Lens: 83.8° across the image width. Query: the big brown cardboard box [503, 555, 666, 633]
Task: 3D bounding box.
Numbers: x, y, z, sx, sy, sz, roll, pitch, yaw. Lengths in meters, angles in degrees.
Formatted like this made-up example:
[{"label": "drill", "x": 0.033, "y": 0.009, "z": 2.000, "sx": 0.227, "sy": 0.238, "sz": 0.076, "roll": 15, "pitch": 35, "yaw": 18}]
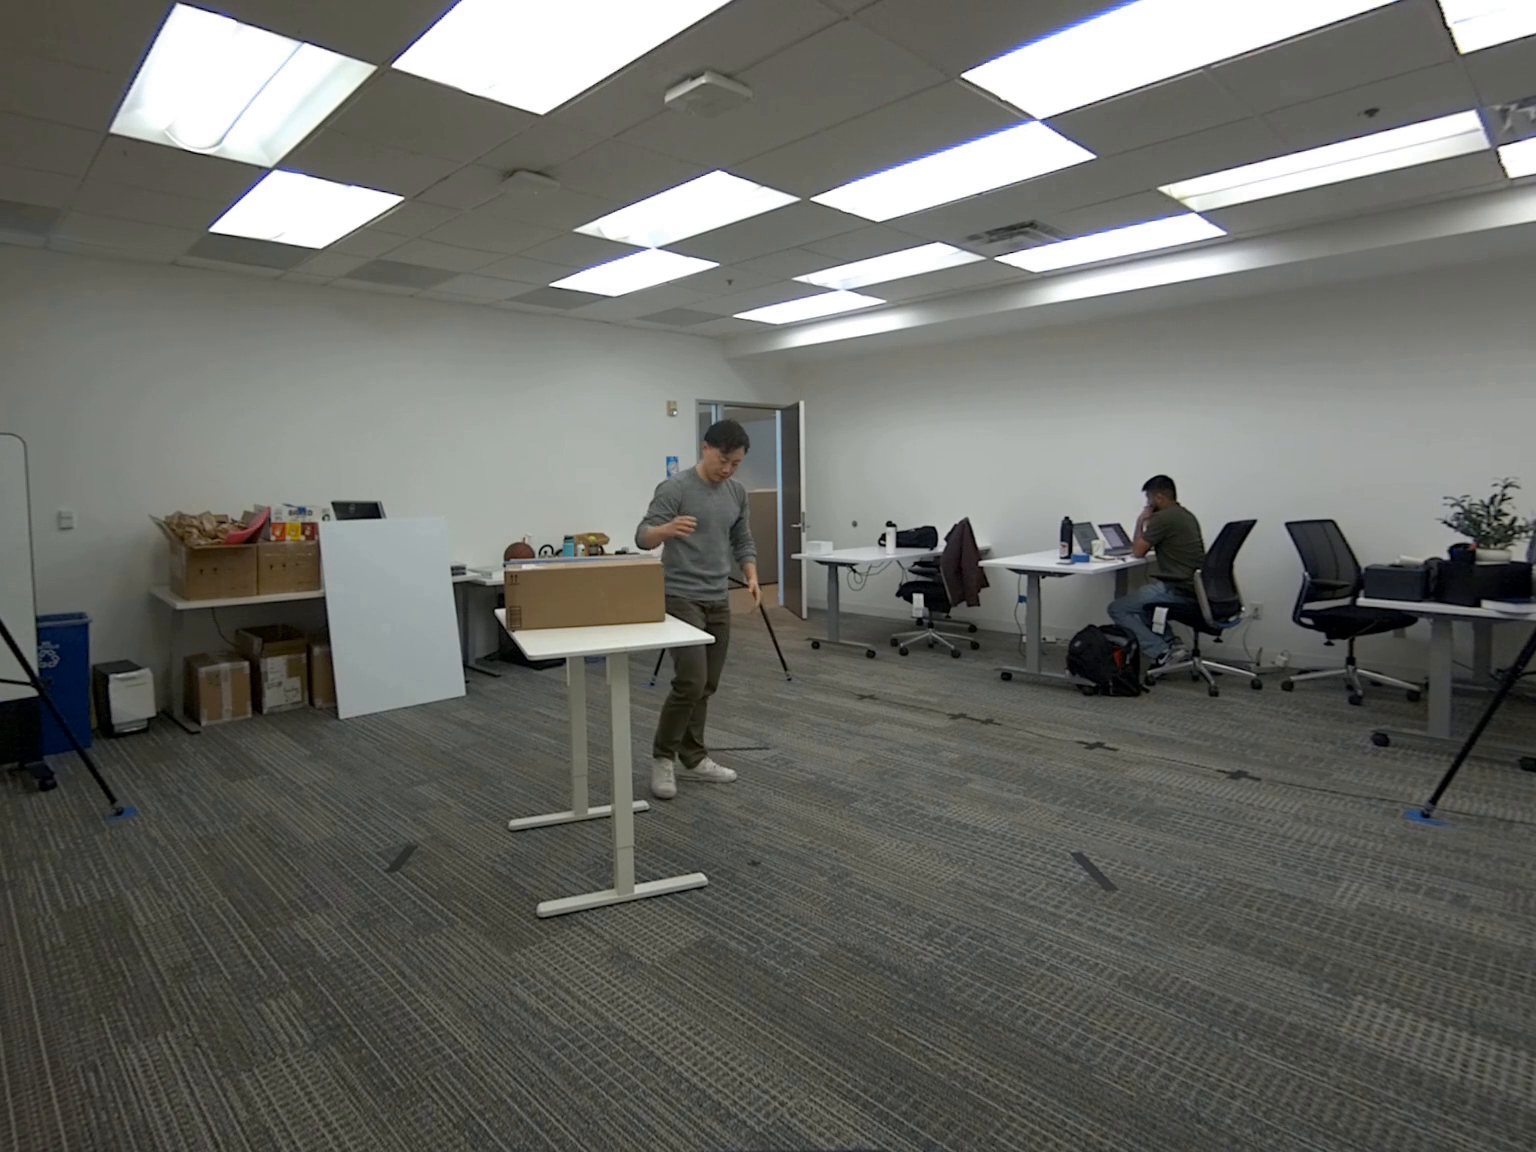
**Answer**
[{"label": "big brown cardboard box", "x": -0.698, "y": 0.049, "z": 3.247, "sx": 0.582, "sy": 0.232, "sz": 0.424, "roll": -2, "pitch": 6, "yaw": -13}]
